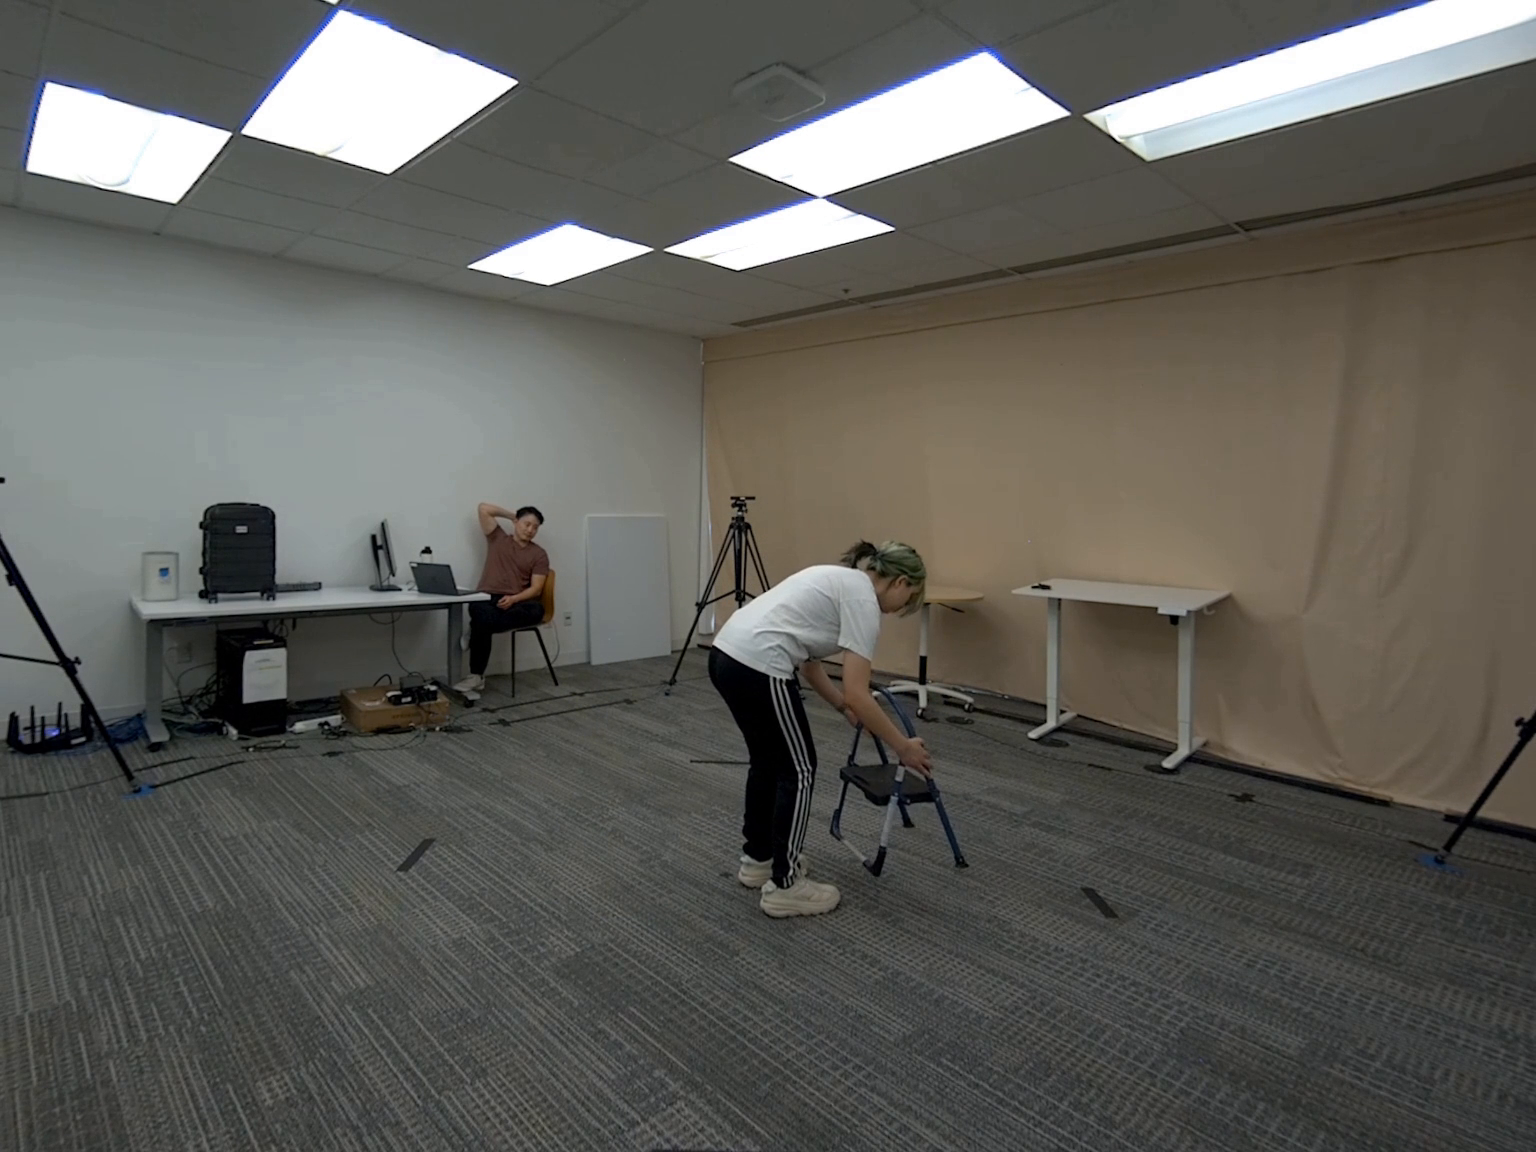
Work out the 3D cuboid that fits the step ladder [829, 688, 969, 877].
[{"bbox_3d":[0.441,0.682,3.025,0.345,0.605,0.436,-1,2,-17],"label":"step ladder"}]
